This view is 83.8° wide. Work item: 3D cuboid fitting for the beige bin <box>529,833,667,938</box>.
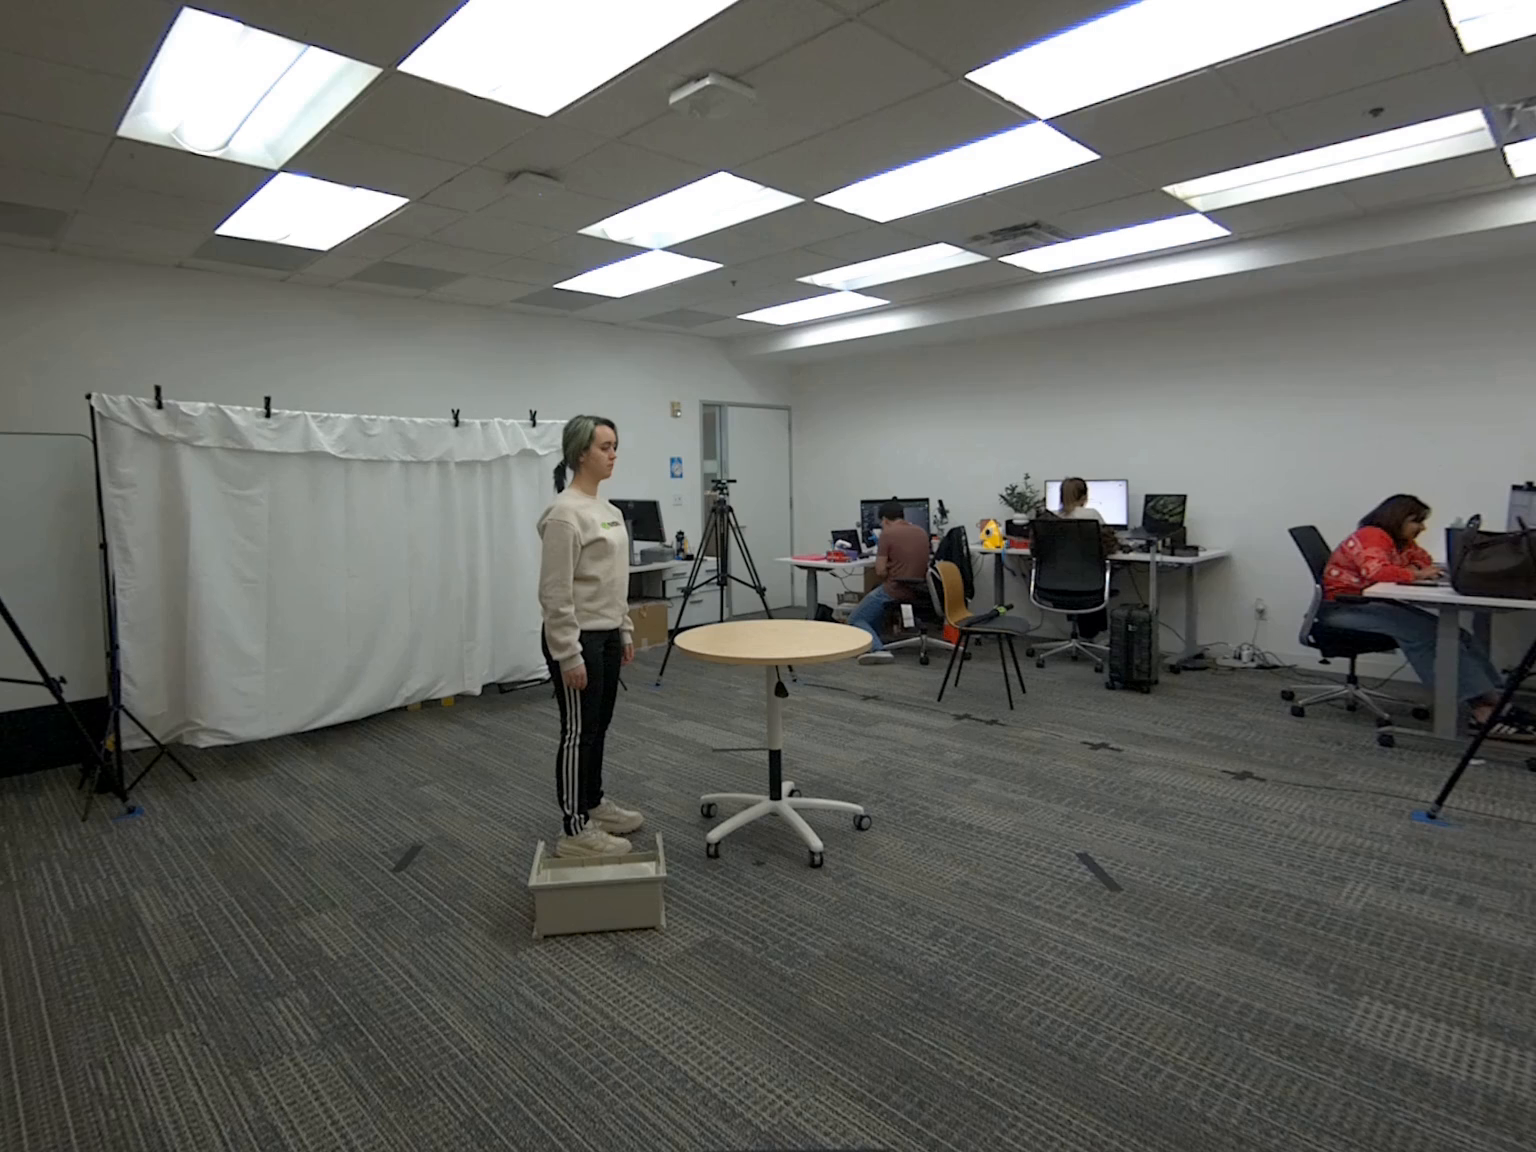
[{"bbox_3d":[-0.551,1.003,2.814,0.419,0.188,0.382,-1,6,-8],"label":"beige bin"}]
